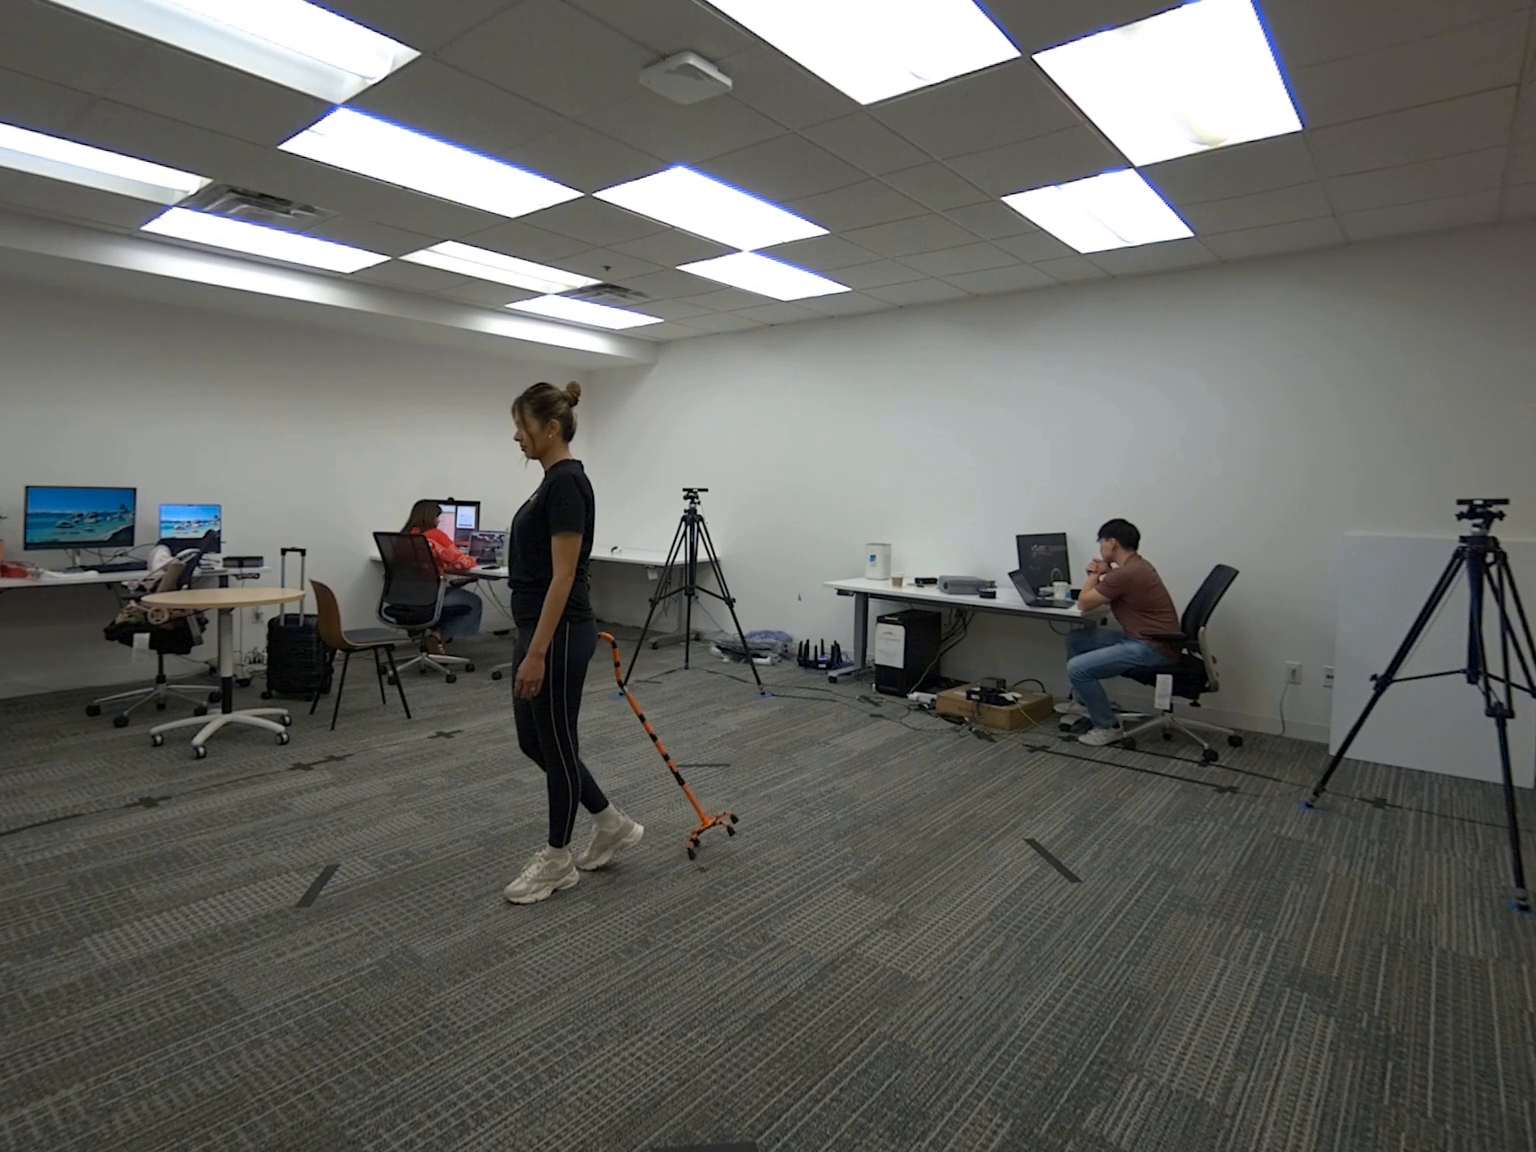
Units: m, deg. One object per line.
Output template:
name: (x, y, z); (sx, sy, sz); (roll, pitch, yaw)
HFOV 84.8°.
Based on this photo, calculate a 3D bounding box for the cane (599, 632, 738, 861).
cane: (-0.450, 0.615, 3.255); (0.207, 0.910, 0.151); (-31, -2, 8)
